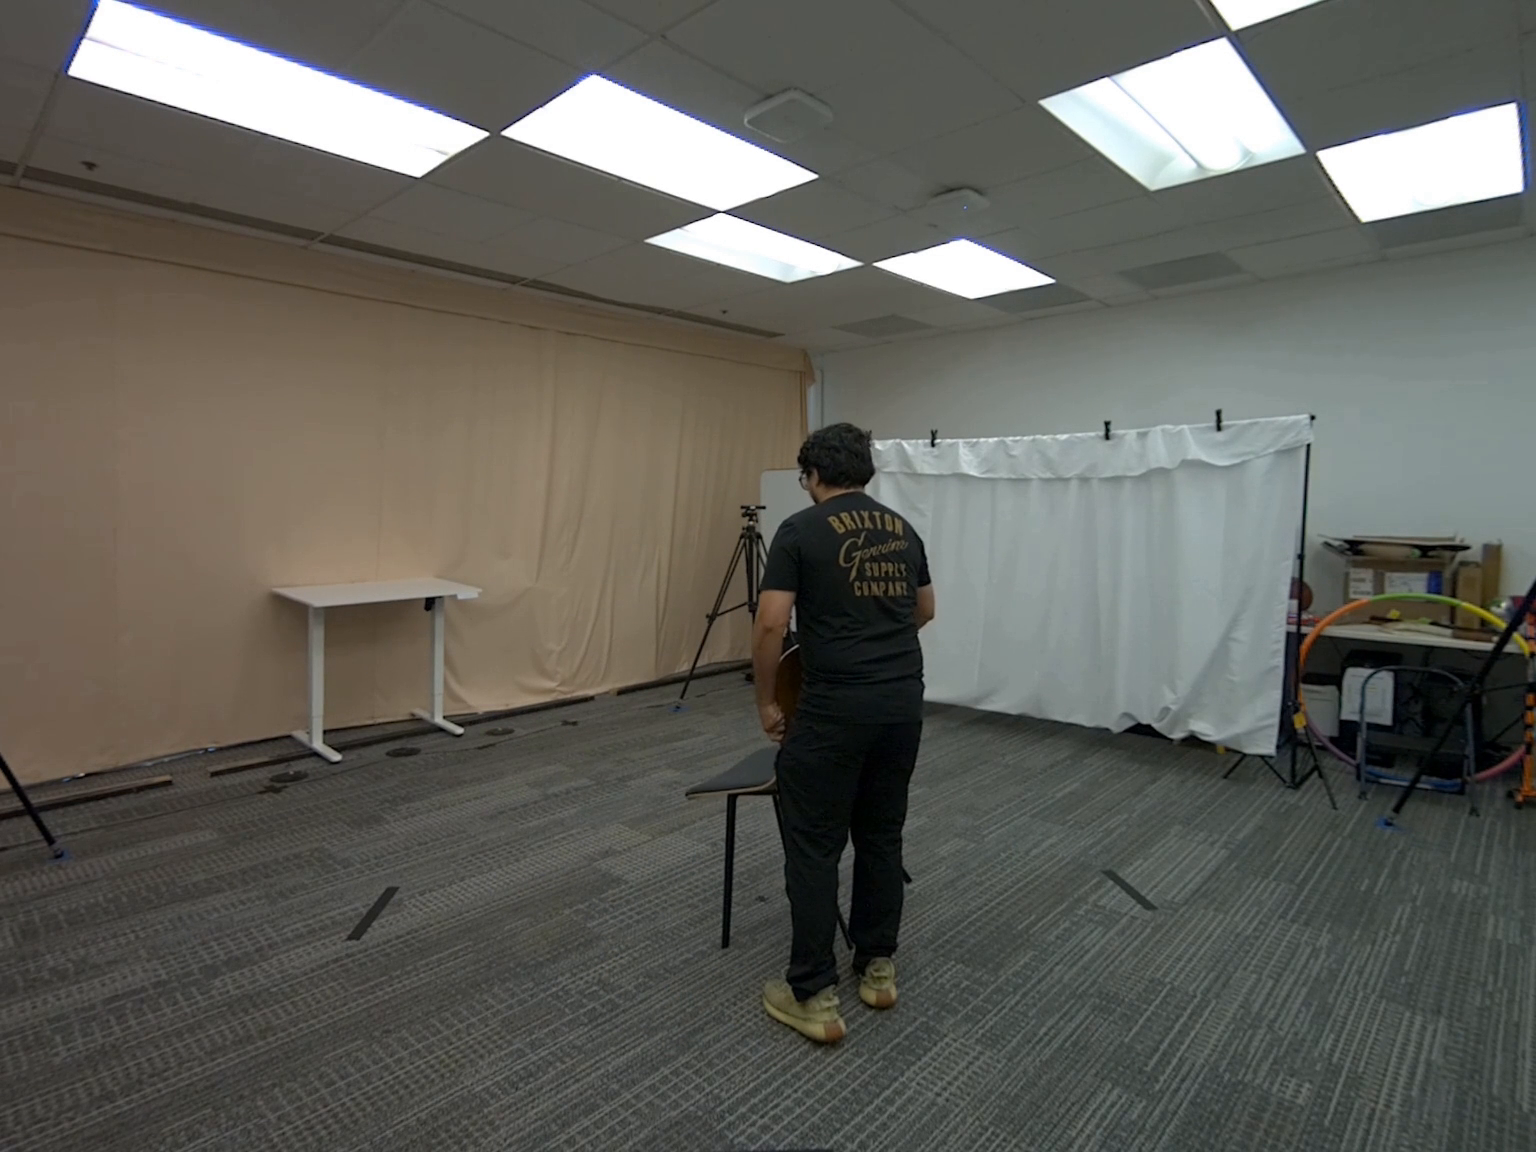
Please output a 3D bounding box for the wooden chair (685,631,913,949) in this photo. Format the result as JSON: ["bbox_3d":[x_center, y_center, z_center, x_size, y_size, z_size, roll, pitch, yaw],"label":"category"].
[{"bbox_3d":[0.039,0.649,2.662,0.536,0.878,0.466,-11,0,33],"label":"wooden chair"}]
